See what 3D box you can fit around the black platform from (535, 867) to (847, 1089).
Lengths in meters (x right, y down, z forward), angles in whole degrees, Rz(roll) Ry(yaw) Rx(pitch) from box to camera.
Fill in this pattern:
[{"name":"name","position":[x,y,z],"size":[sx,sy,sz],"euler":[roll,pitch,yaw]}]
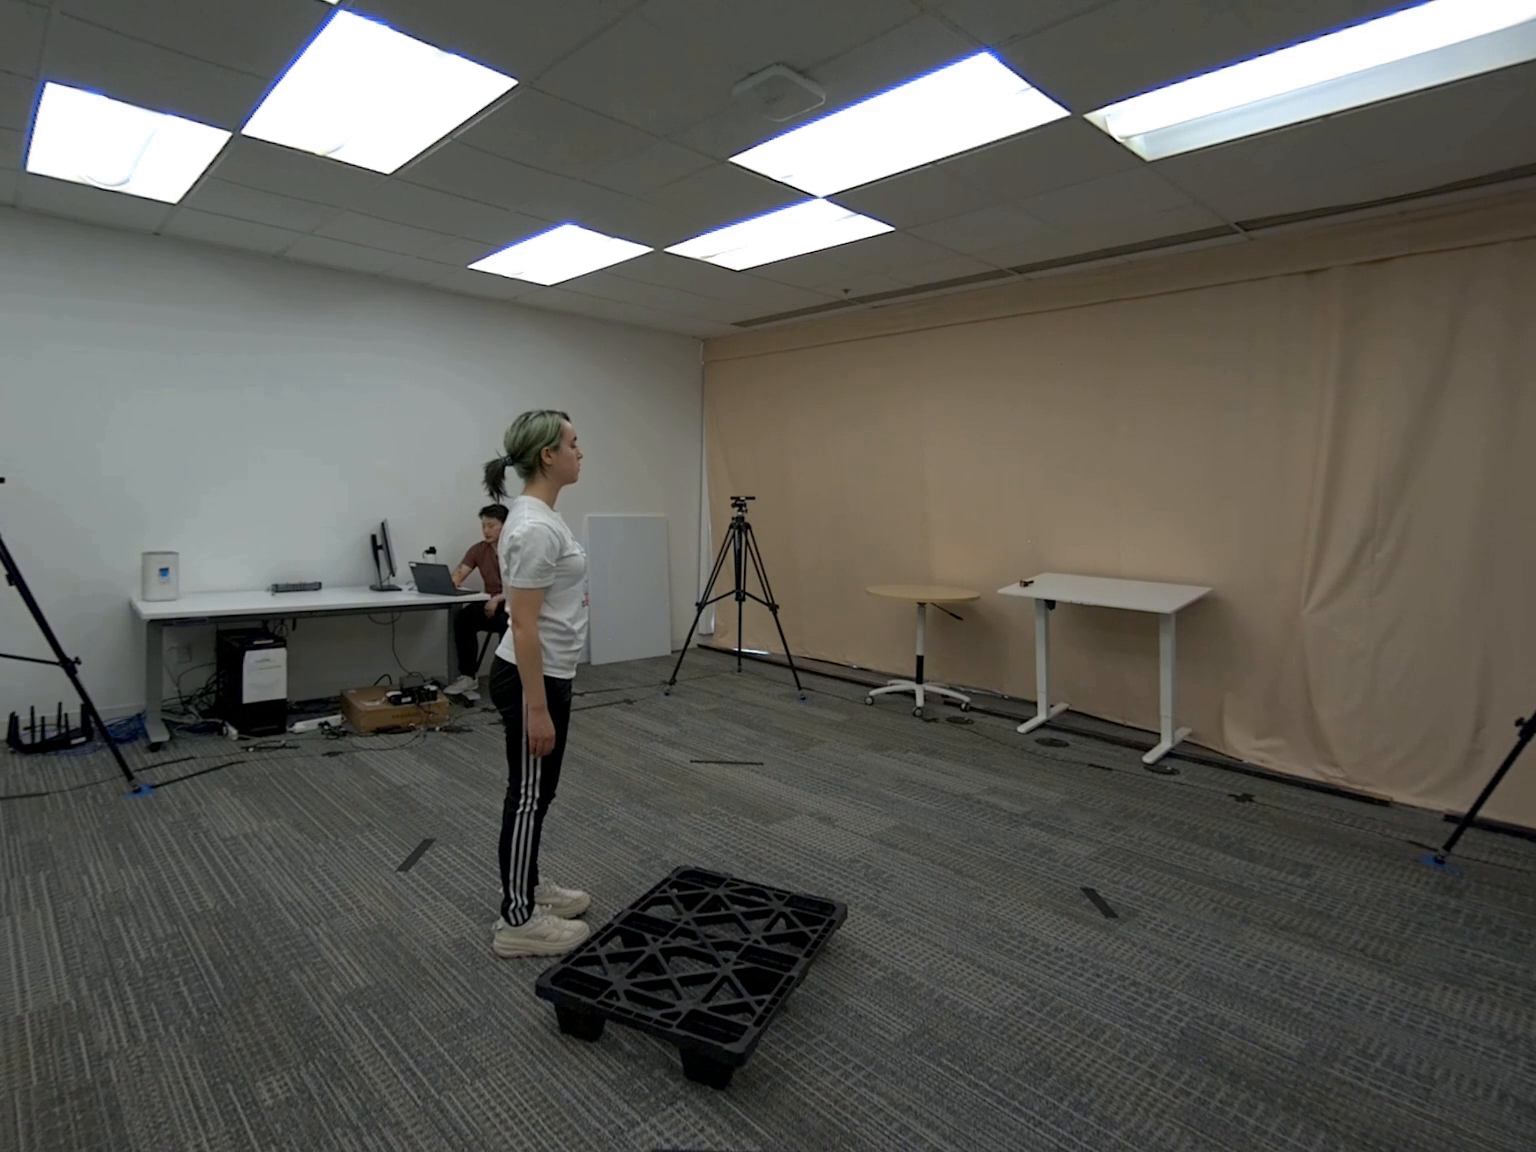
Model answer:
[{"name":"black platform","position":[-0.190,1.100,2.395],"size":[0.617,0.143,0.792],"euler":[3,5,24]}]
